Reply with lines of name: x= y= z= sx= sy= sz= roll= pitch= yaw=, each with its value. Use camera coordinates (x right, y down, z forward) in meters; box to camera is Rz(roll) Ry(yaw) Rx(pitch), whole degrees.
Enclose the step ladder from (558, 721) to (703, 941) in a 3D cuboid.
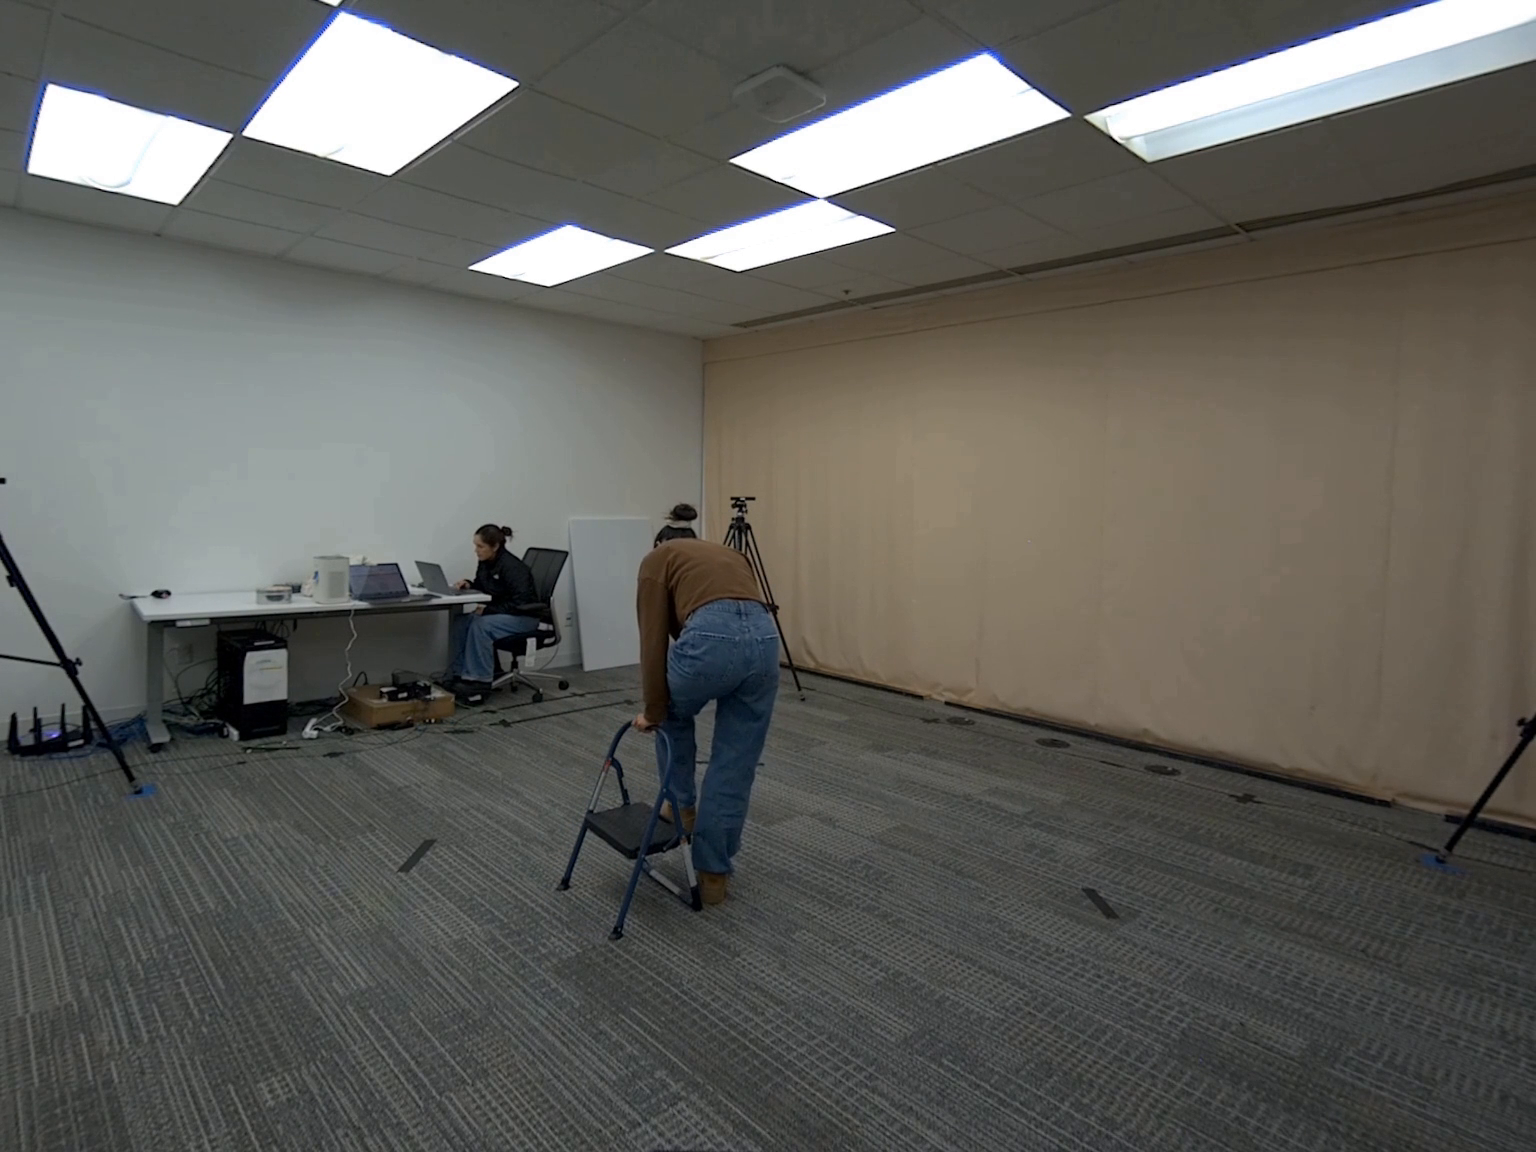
step ladder: x=-0.478 y=0.815 z=2.885 sx=0.341 sy=0.605 sz=0.441 roll=0 pitch=4 yaw=-37
